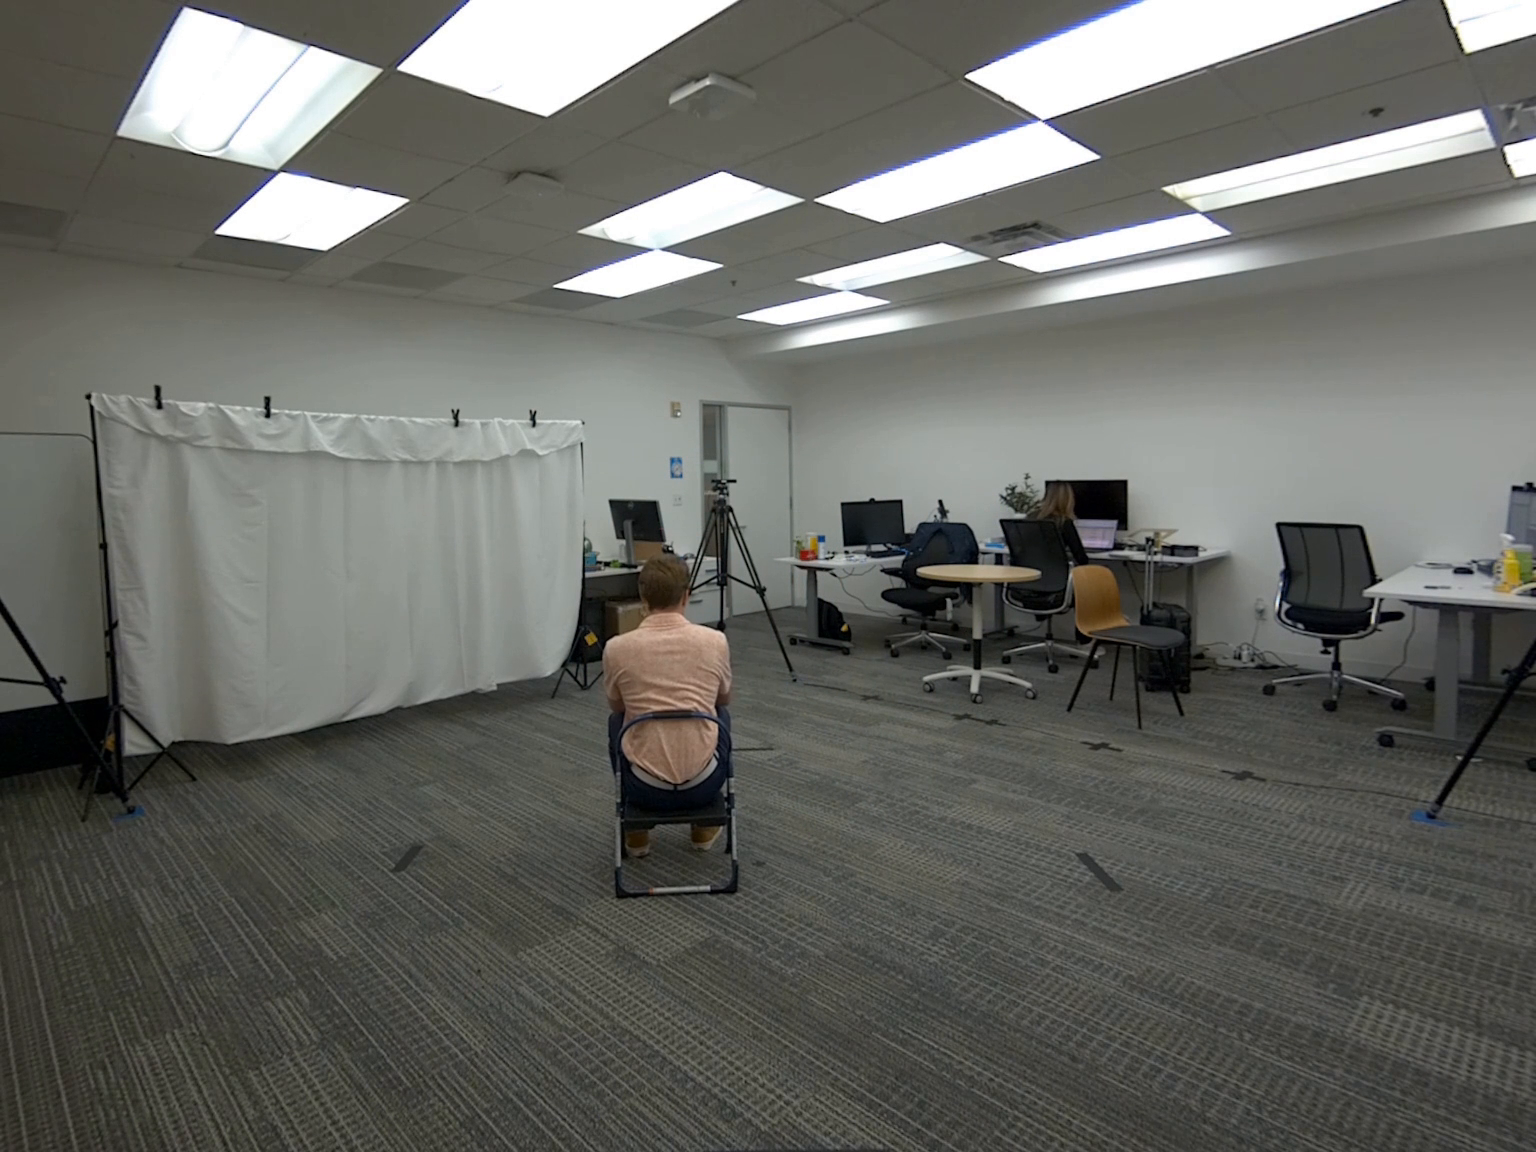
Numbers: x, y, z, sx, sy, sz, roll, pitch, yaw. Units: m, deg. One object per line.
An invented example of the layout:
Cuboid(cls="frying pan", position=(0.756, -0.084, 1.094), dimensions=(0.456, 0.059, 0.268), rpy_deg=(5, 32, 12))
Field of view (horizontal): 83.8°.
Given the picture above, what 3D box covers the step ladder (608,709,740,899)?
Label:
Cuboid(cls="step ladder", position=(-0.332, 0.769, 3.026), dimensions=(0.428, 0.604, 0.352), rpy_deg=(-1, 3, -6))
